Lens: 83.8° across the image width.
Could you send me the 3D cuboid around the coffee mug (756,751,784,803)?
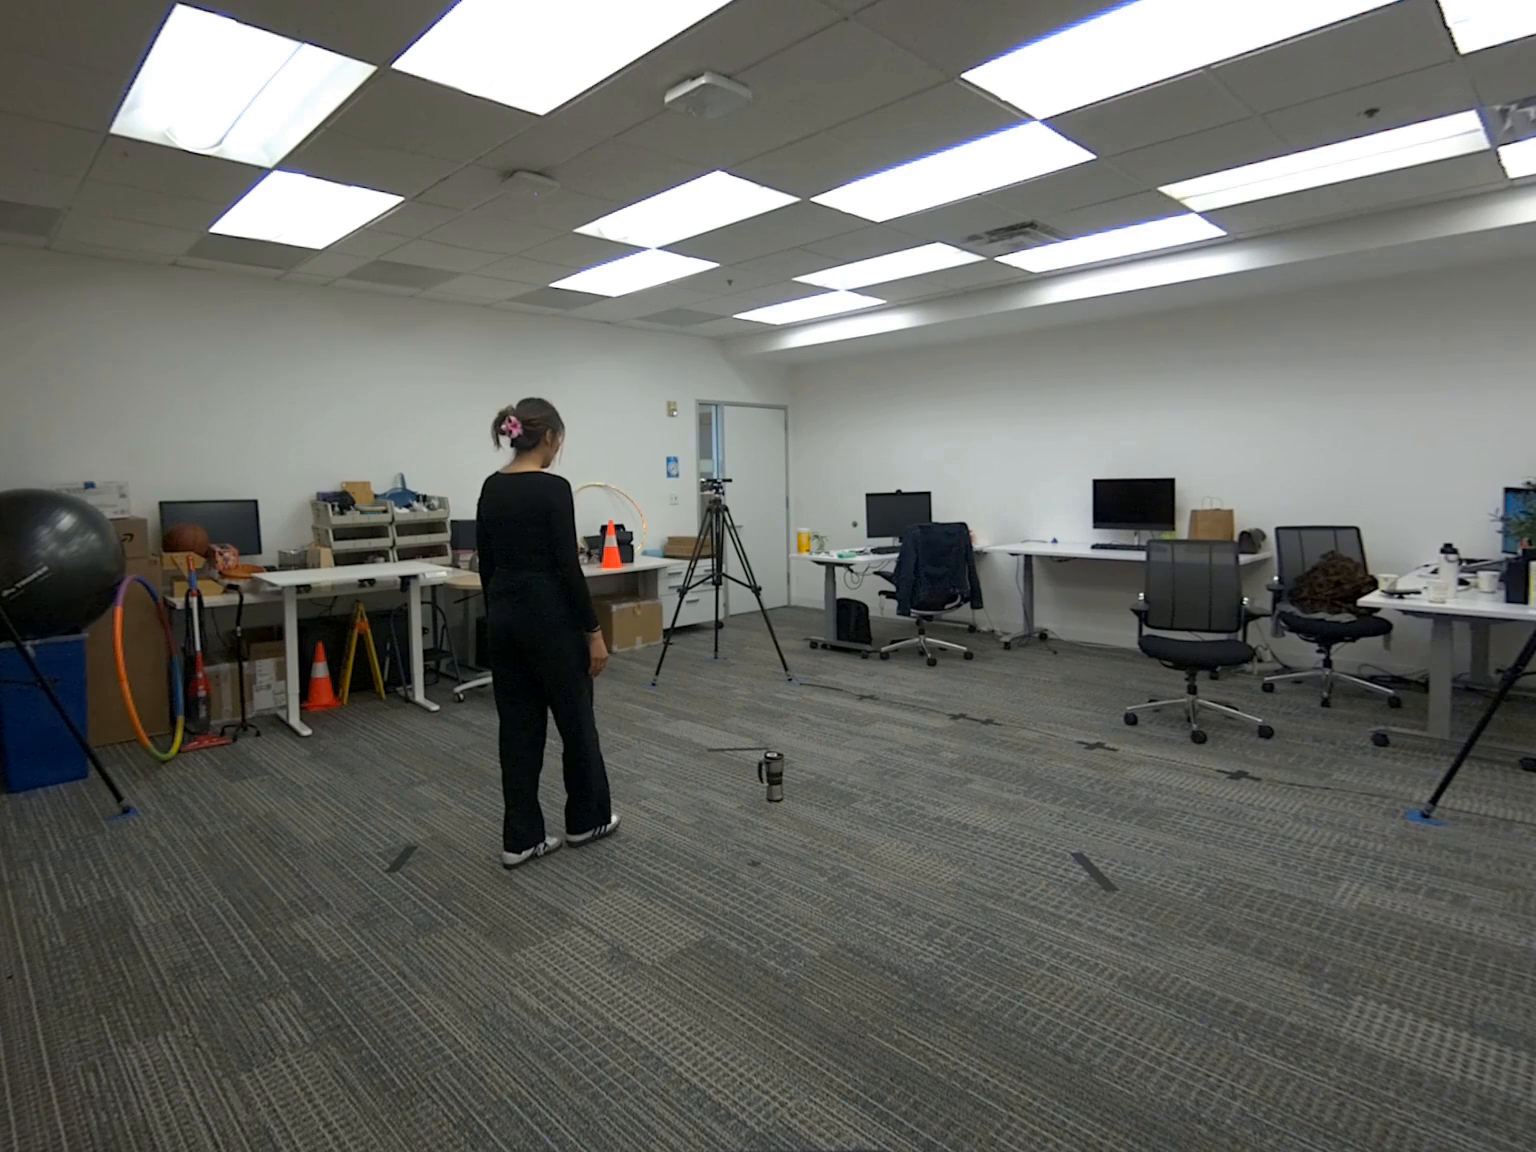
[{"bbox_3d":[0.008,0.875,3.721,0.121,0.202,0.089,1,5,-10],"label":"coffee mug"}]
